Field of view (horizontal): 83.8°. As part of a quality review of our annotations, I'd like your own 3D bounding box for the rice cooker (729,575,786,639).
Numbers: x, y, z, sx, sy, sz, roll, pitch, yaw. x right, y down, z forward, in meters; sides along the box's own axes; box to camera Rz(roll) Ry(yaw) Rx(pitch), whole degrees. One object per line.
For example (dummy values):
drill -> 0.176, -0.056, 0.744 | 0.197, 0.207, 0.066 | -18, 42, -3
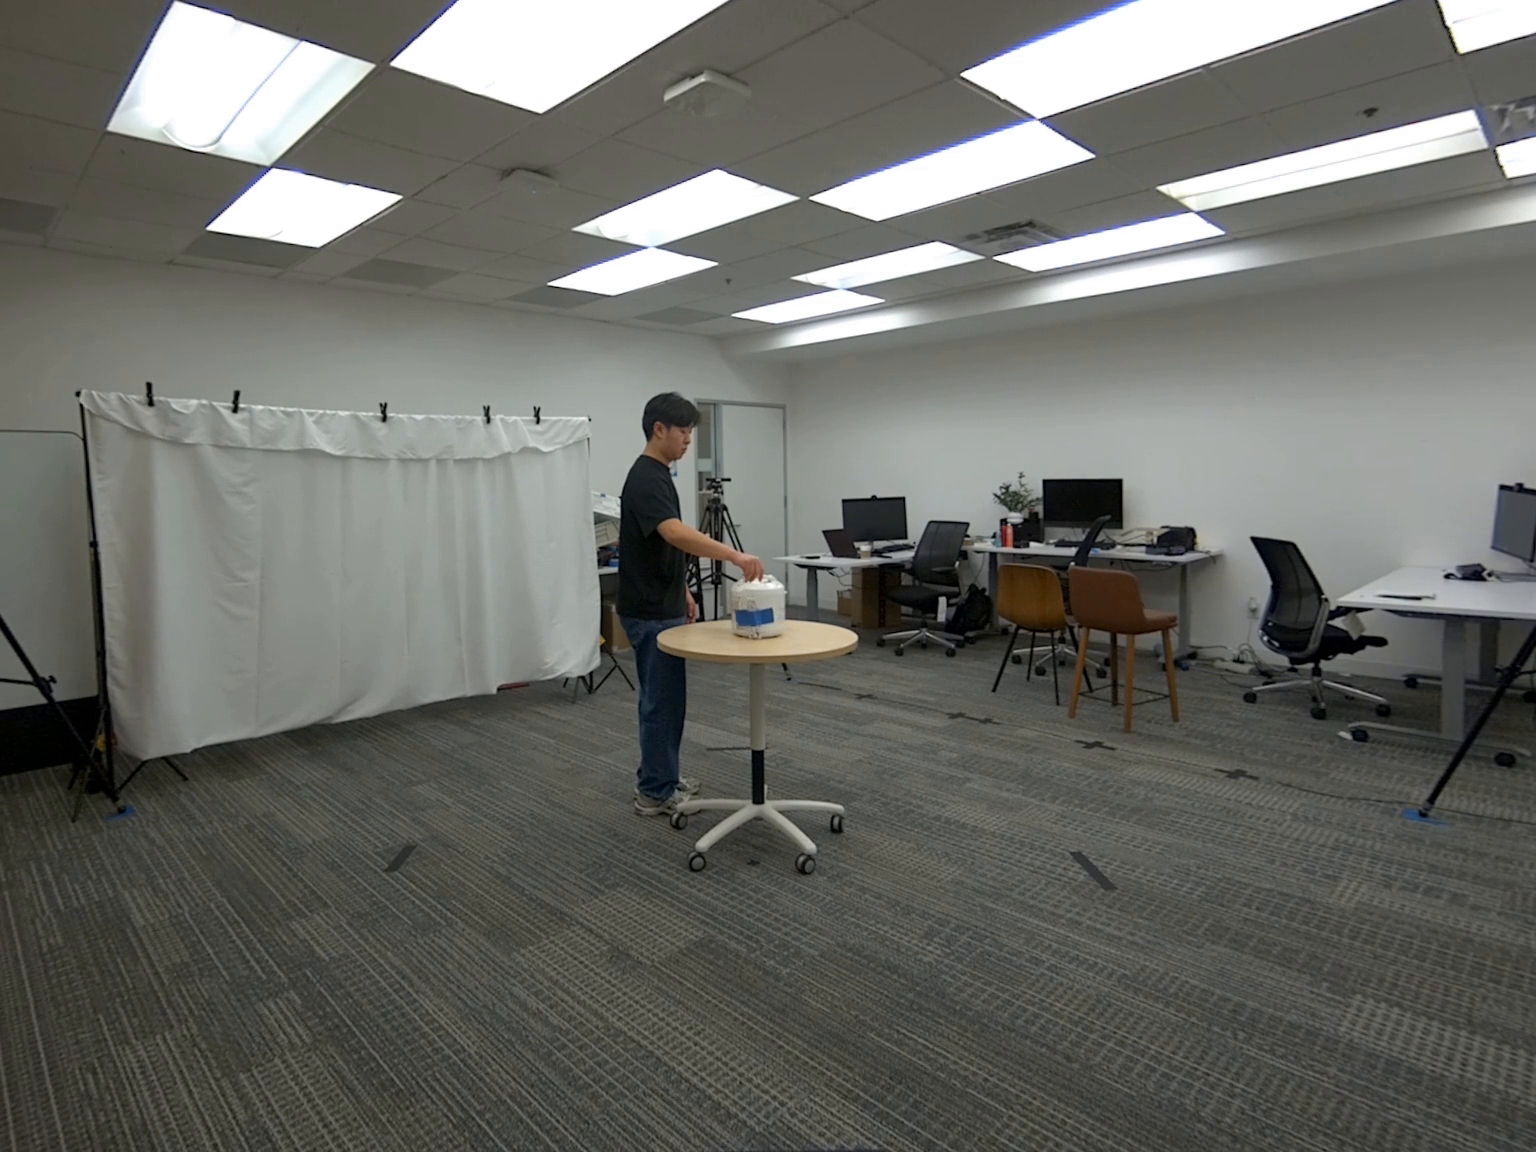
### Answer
rice cooker -> -0.039, 0.110, 3.281 | 0.215, 0.232, 0.224 | -2, 5, -34
